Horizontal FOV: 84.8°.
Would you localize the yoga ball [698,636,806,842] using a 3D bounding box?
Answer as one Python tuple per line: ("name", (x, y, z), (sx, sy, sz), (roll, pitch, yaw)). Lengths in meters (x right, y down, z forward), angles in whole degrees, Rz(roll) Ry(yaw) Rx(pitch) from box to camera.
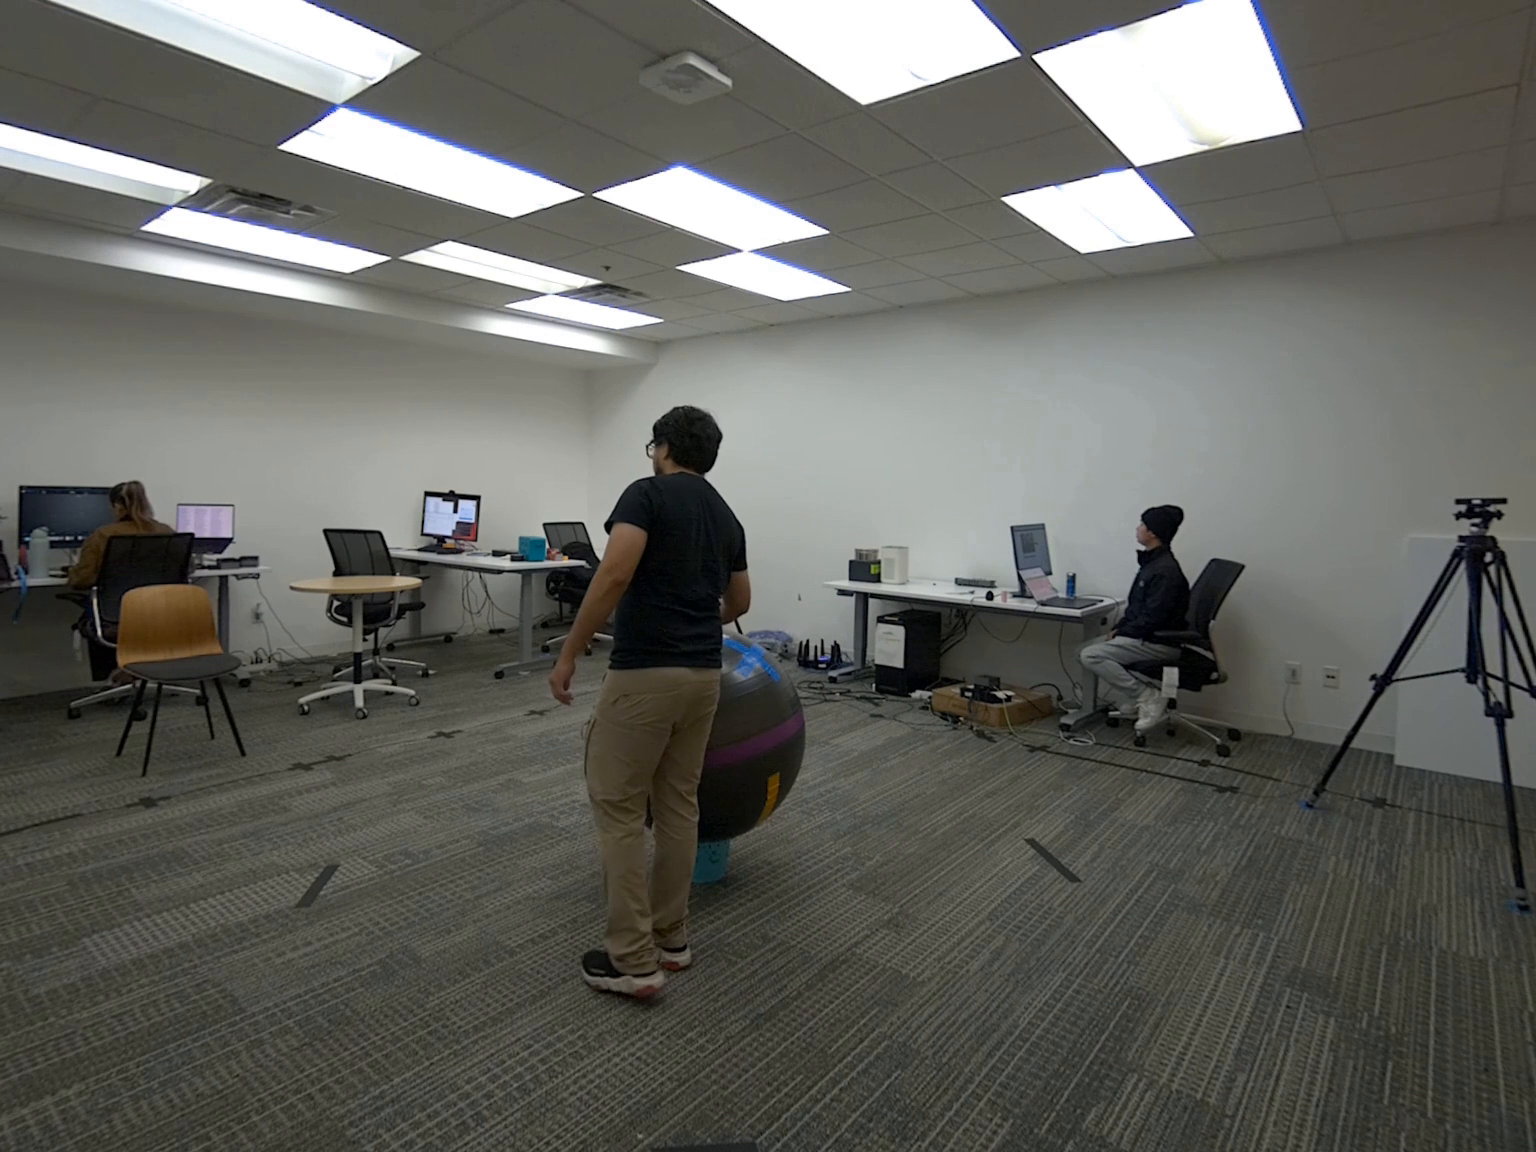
("yoga ball", (-0.260, 0.563, 3.071), (0.757, 0.756, 0.762), (1, 4, -2))
